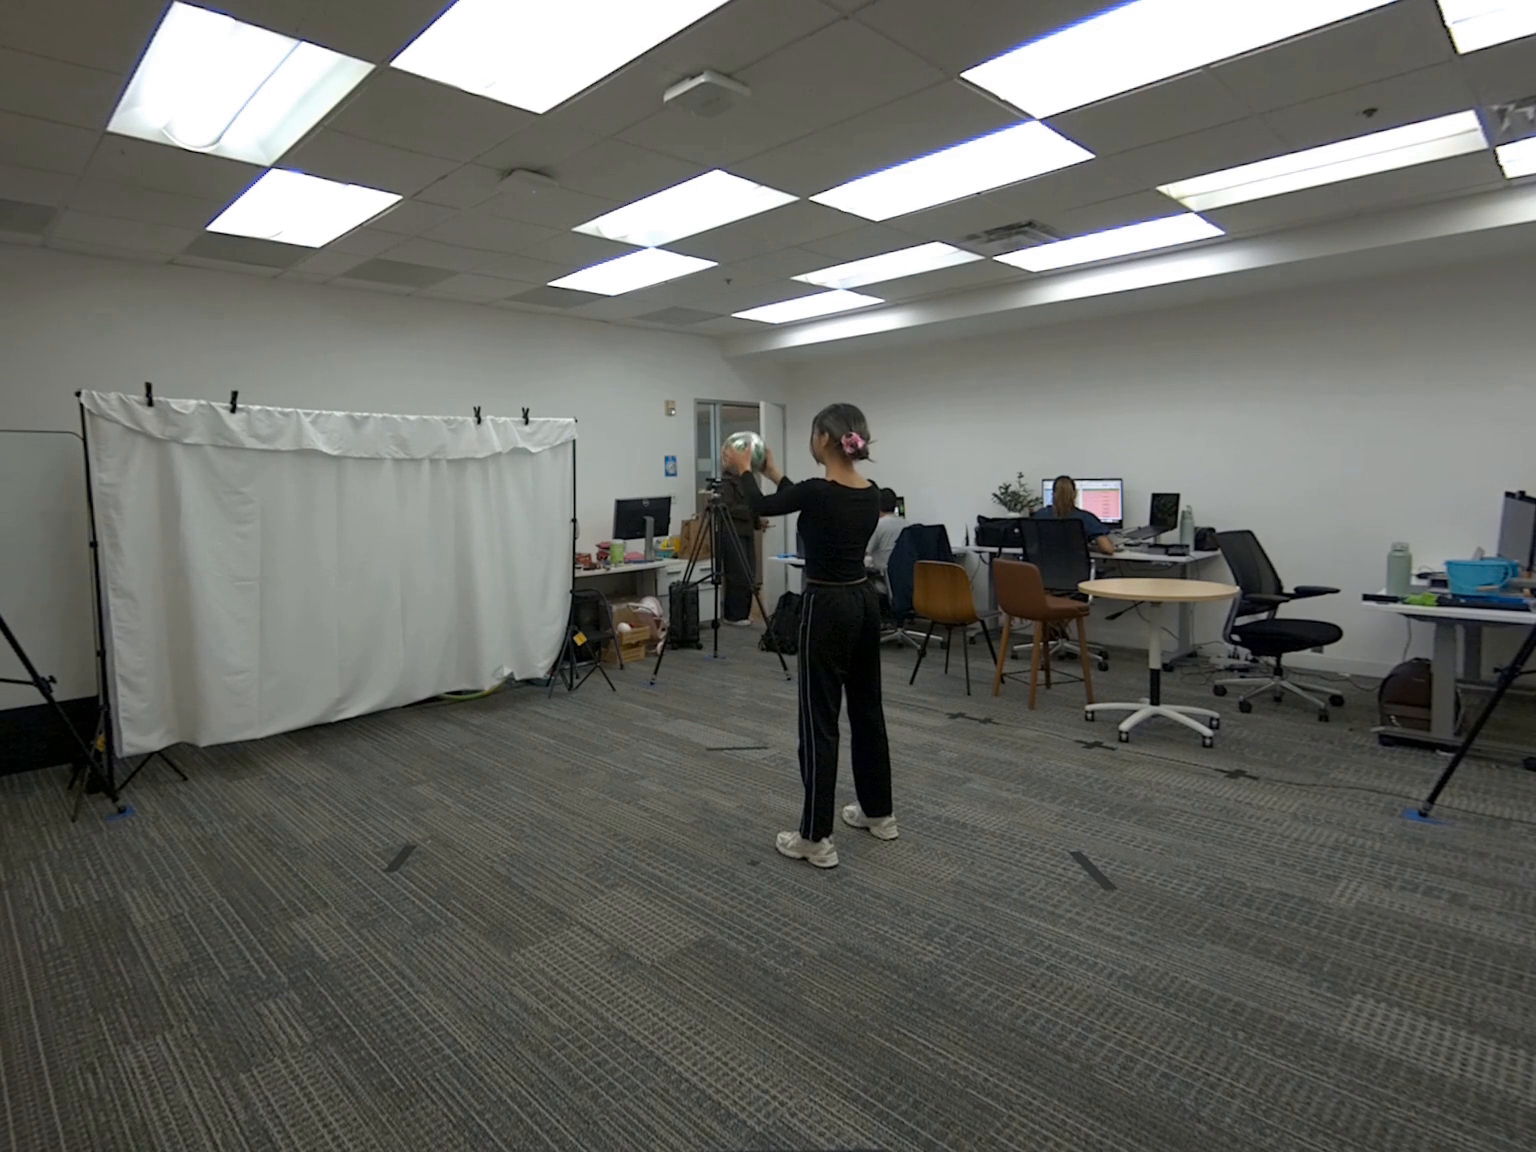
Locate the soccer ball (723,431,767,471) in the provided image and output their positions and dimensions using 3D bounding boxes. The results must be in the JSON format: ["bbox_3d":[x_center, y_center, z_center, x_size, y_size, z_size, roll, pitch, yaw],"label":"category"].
[{"bbox_3d":[-0.087,-0.513,3.547,0.187,0.187,0.188,-1,5,-2],"label":"soccer ball"}]
